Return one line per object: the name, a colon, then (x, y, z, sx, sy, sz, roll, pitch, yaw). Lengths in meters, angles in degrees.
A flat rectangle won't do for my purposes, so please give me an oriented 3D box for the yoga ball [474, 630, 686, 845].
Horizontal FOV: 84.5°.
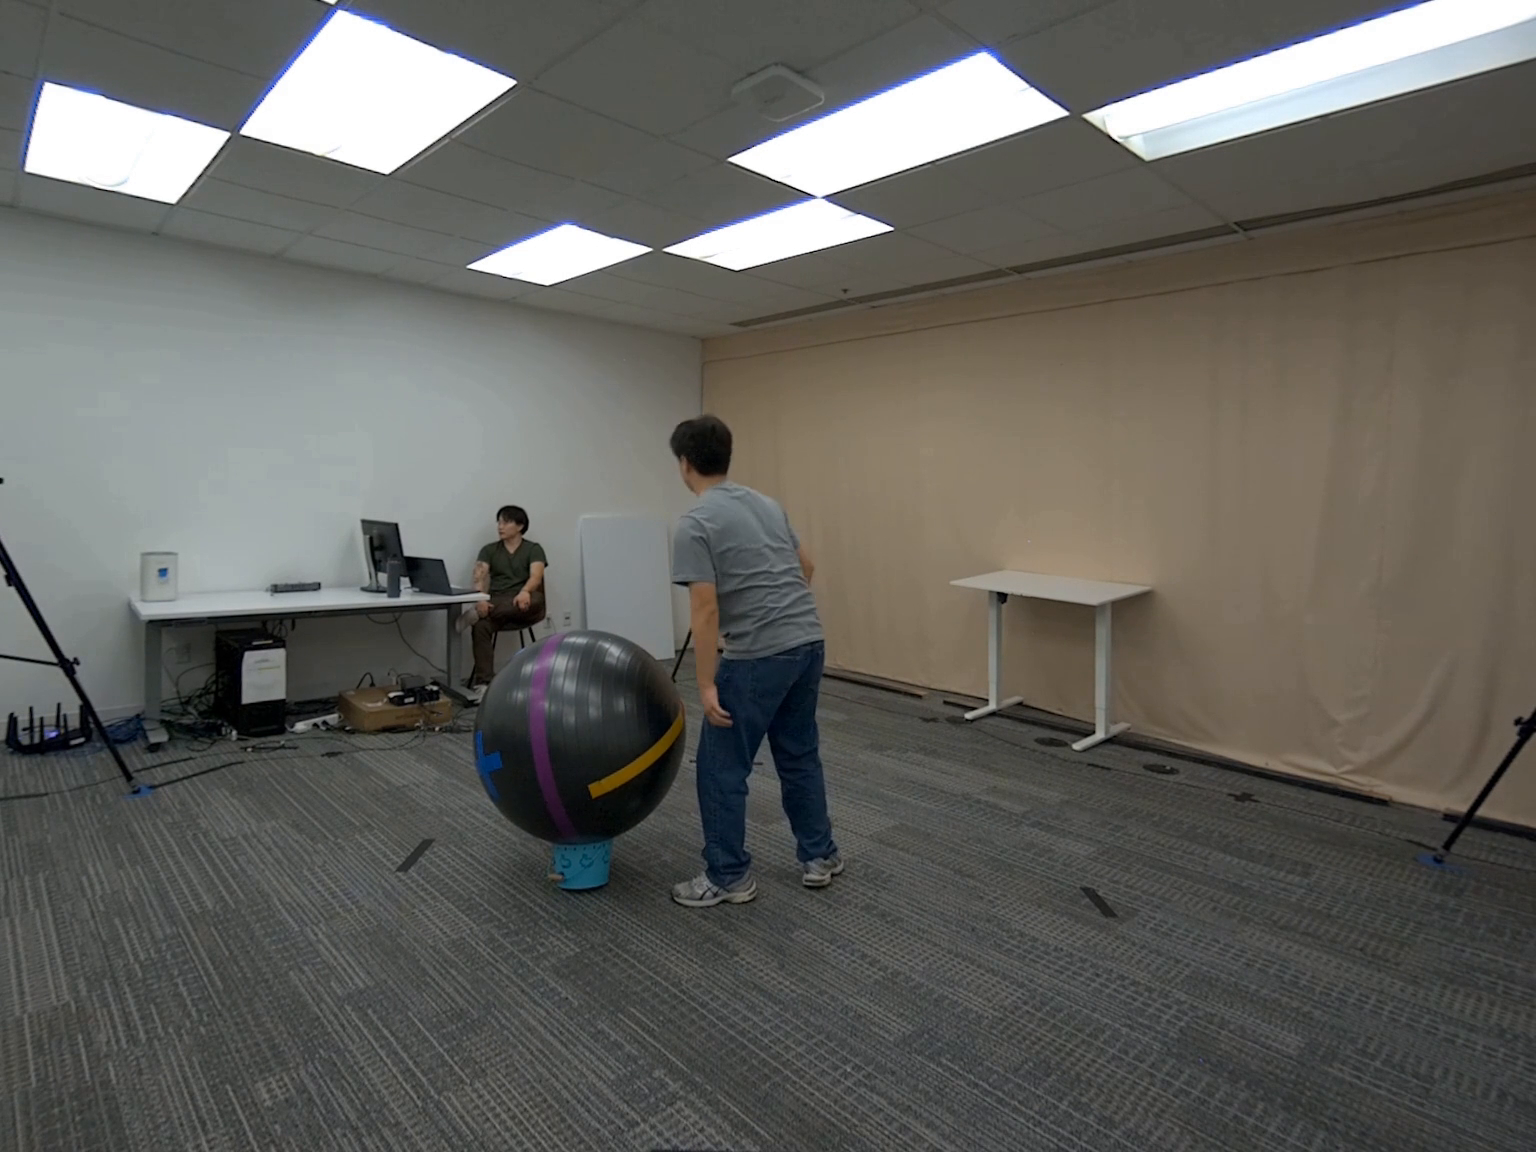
yoga ball: (-0.688, 0.584, 3.067, 0.757, 0.756, 0.761, 1, 4, -1)
